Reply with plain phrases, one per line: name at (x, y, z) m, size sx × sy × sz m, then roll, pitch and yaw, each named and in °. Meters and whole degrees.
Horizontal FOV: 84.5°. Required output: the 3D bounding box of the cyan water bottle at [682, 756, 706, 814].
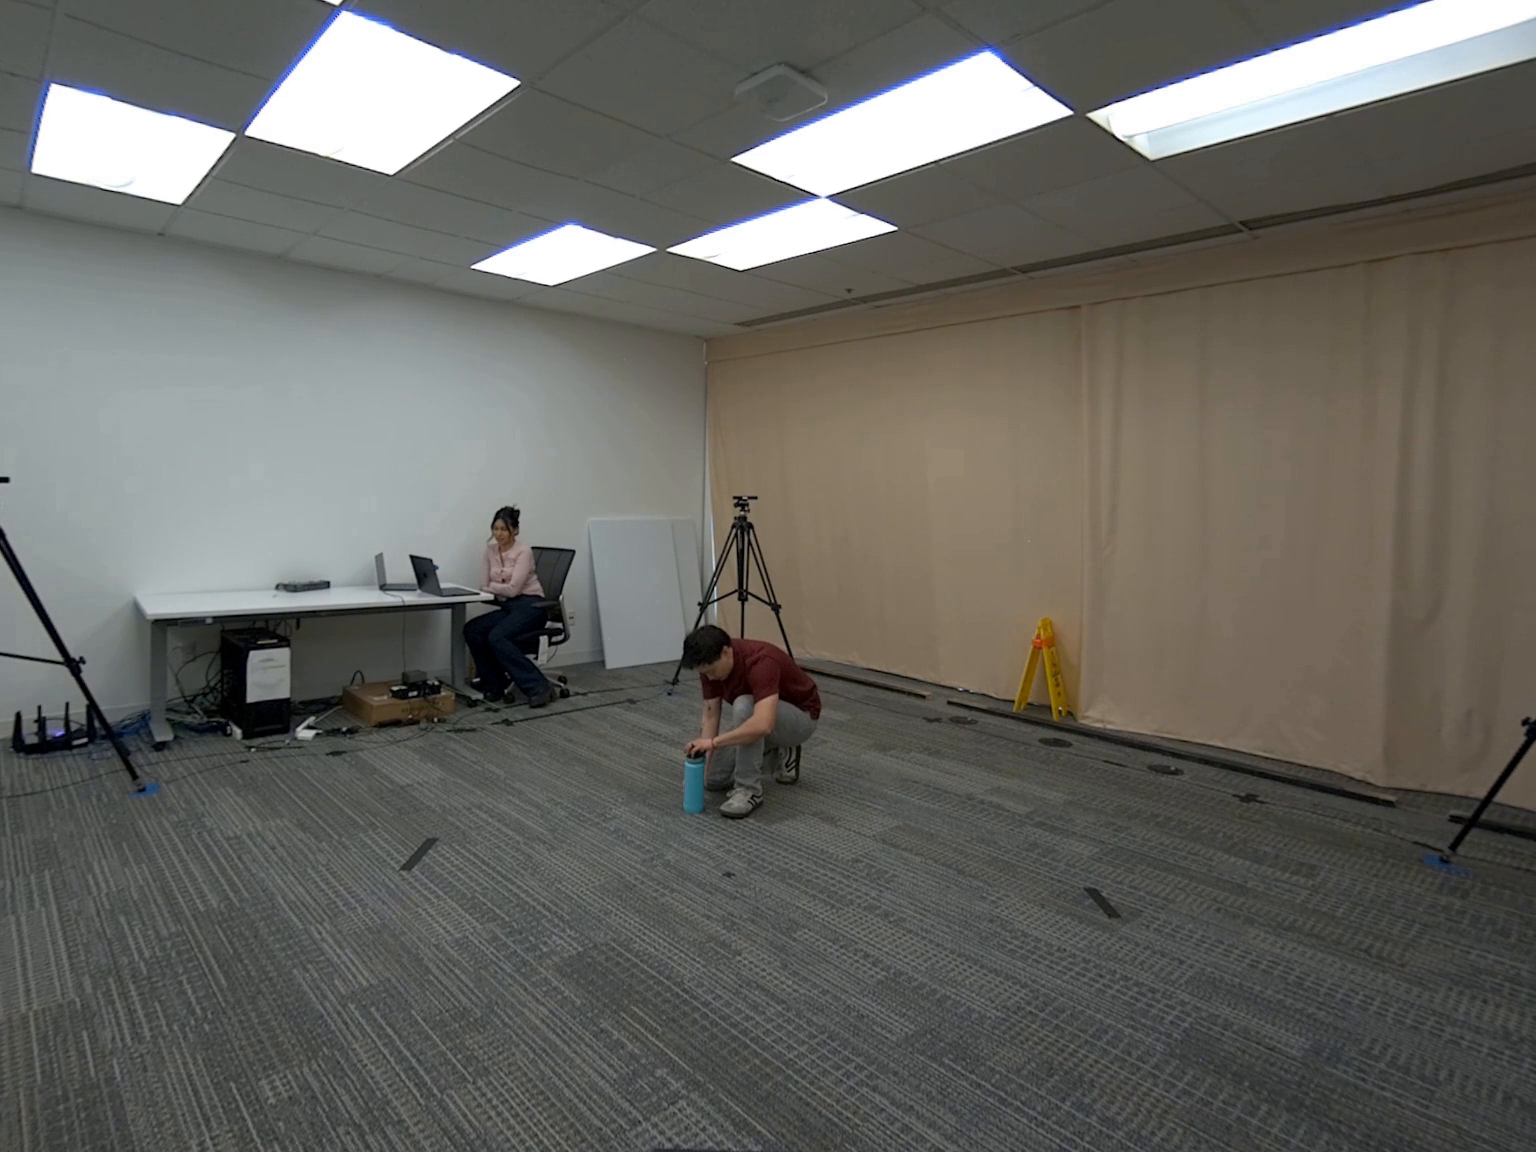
cyan water bottle at (-0.341, 0.905, 3.726) m, size 0.092 × 0.281 × 0.093 m, roll 2°, pitch 10°, yaw -2°
